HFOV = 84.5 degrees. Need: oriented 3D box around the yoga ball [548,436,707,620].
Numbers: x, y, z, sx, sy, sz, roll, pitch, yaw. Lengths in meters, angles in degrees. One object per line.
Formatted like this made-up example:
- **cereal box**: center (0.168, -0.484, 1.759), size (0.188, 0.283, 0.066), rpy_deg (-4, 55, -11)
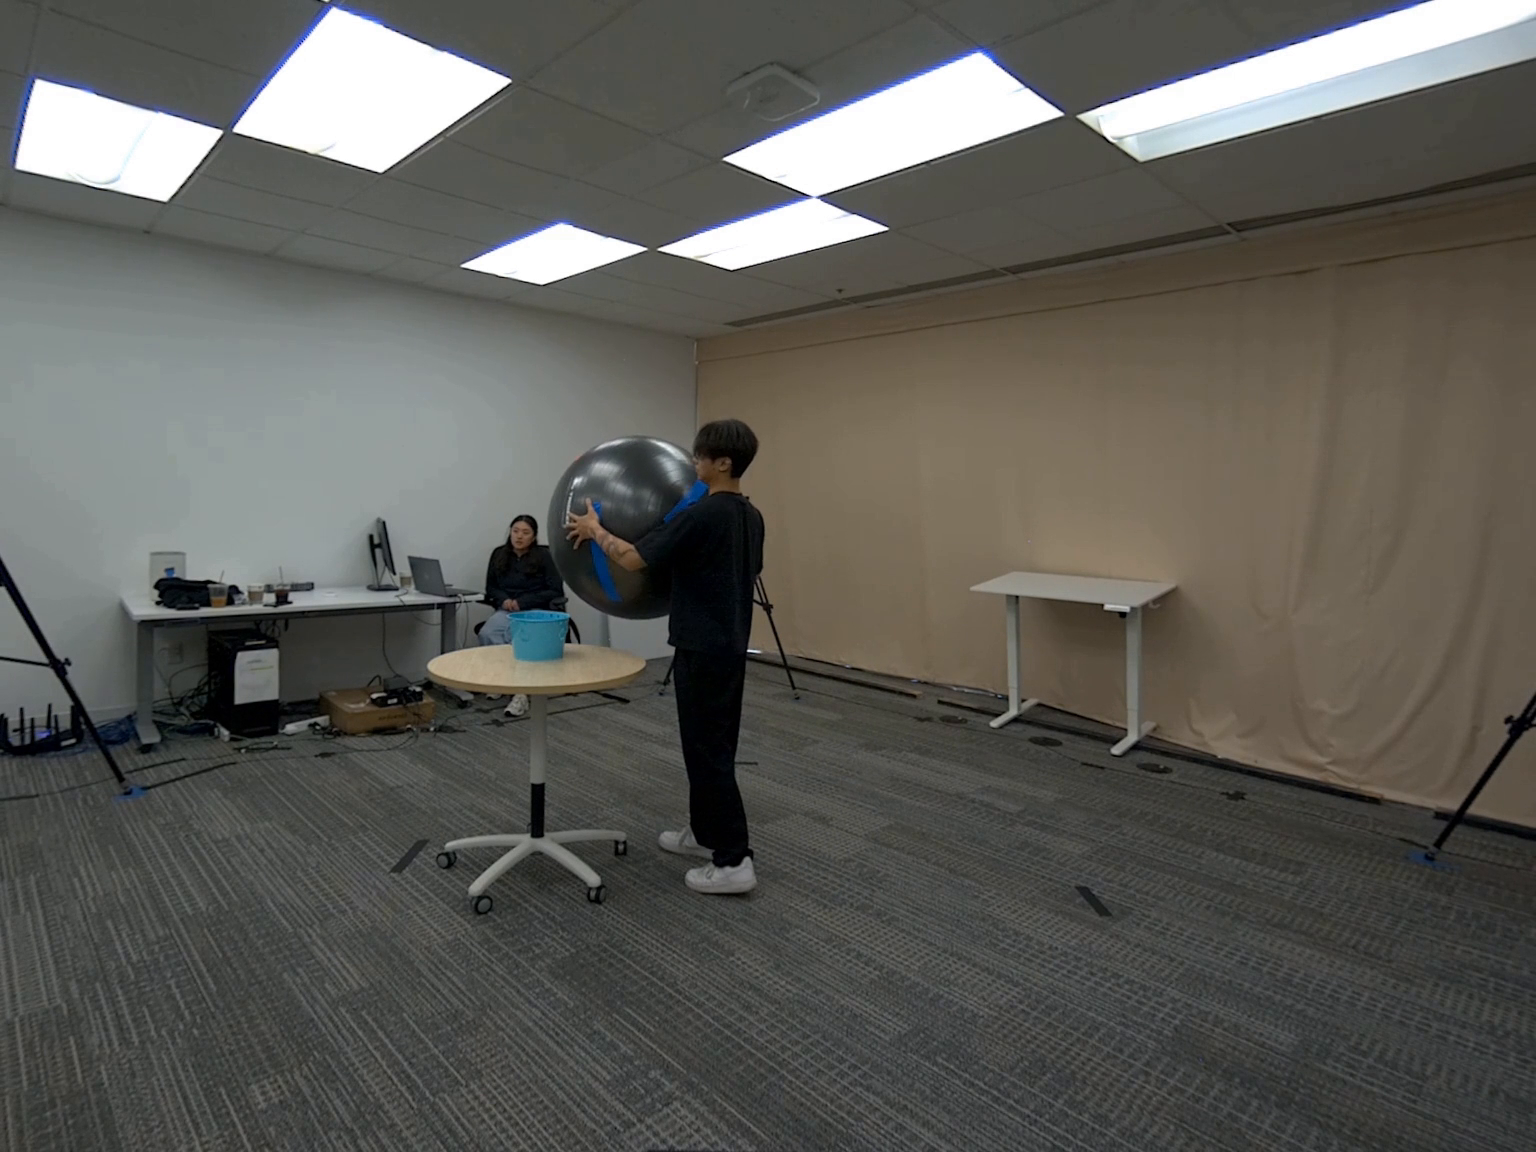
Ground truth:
- **yoga ball**: center (-0.547, -0.197, 3.517), size (0.757, 0.756, 0.761), rpy_deg (1, 4, -1)
